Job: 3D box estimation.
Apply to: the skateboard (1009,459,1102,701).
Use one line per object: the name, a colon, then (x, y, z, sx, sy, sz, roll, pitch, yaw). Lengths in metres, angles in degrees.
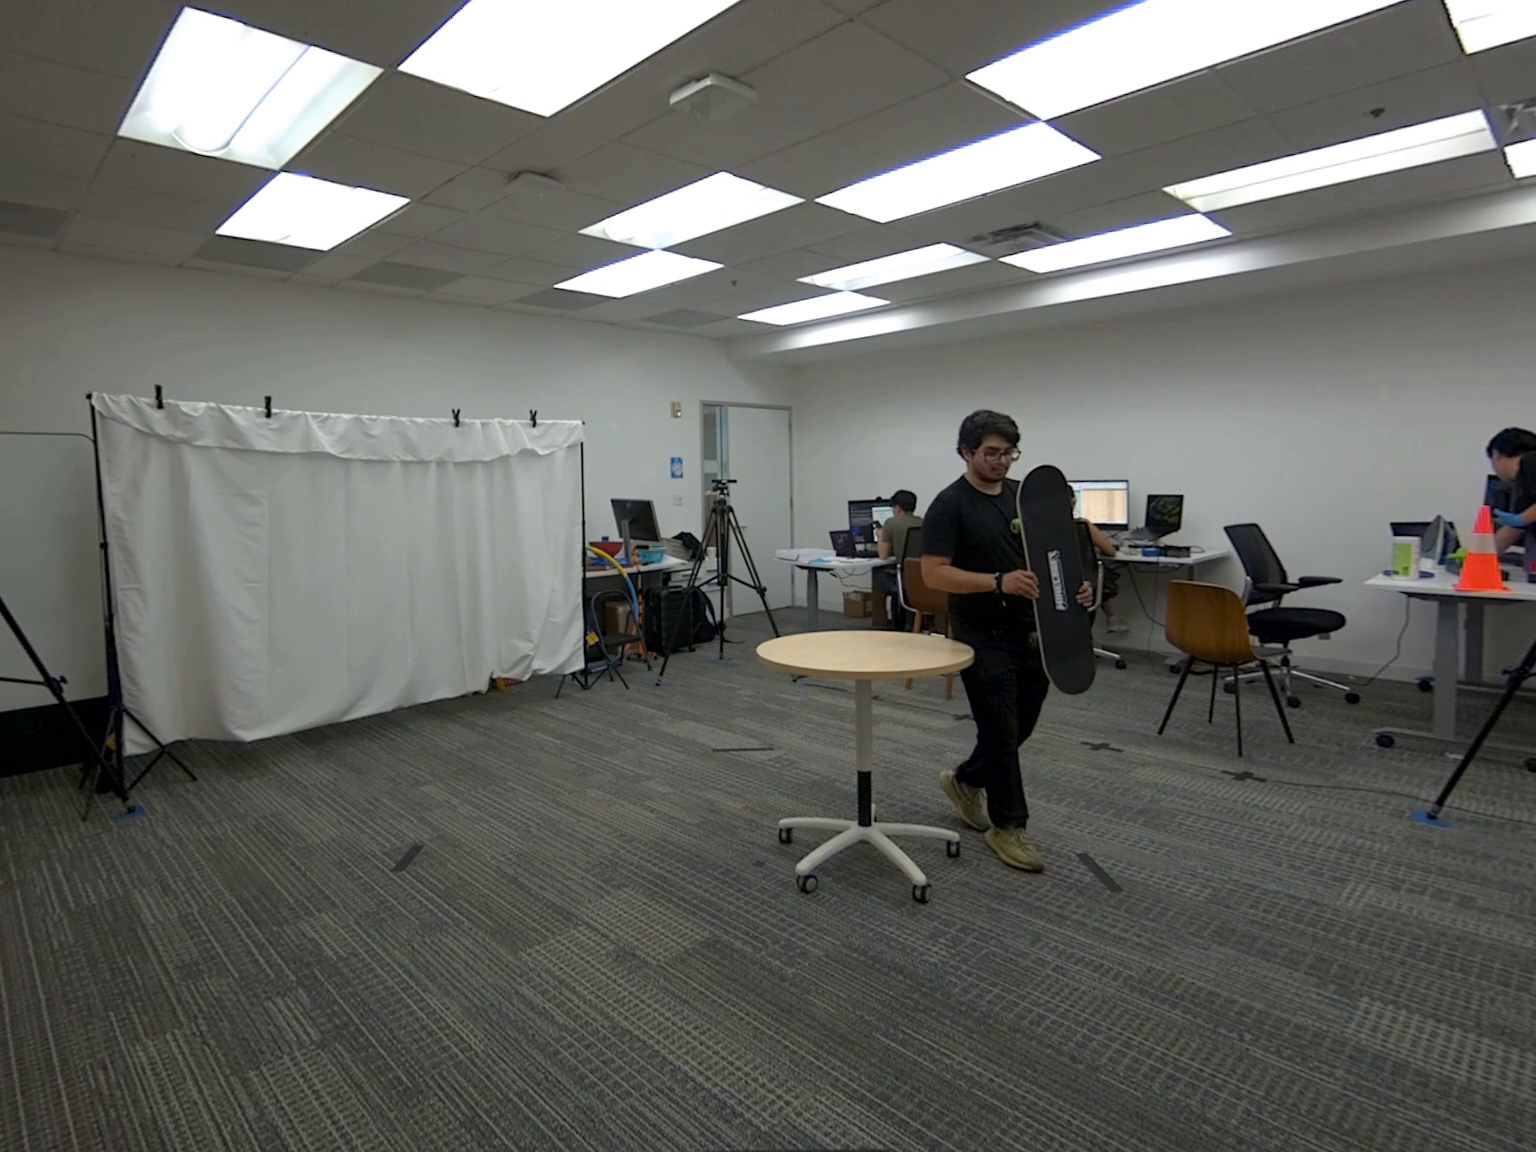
skateboard: (0.973, 0.006, 2.907, 0.191, 0.781, 0.112, -9, 6, -15)
